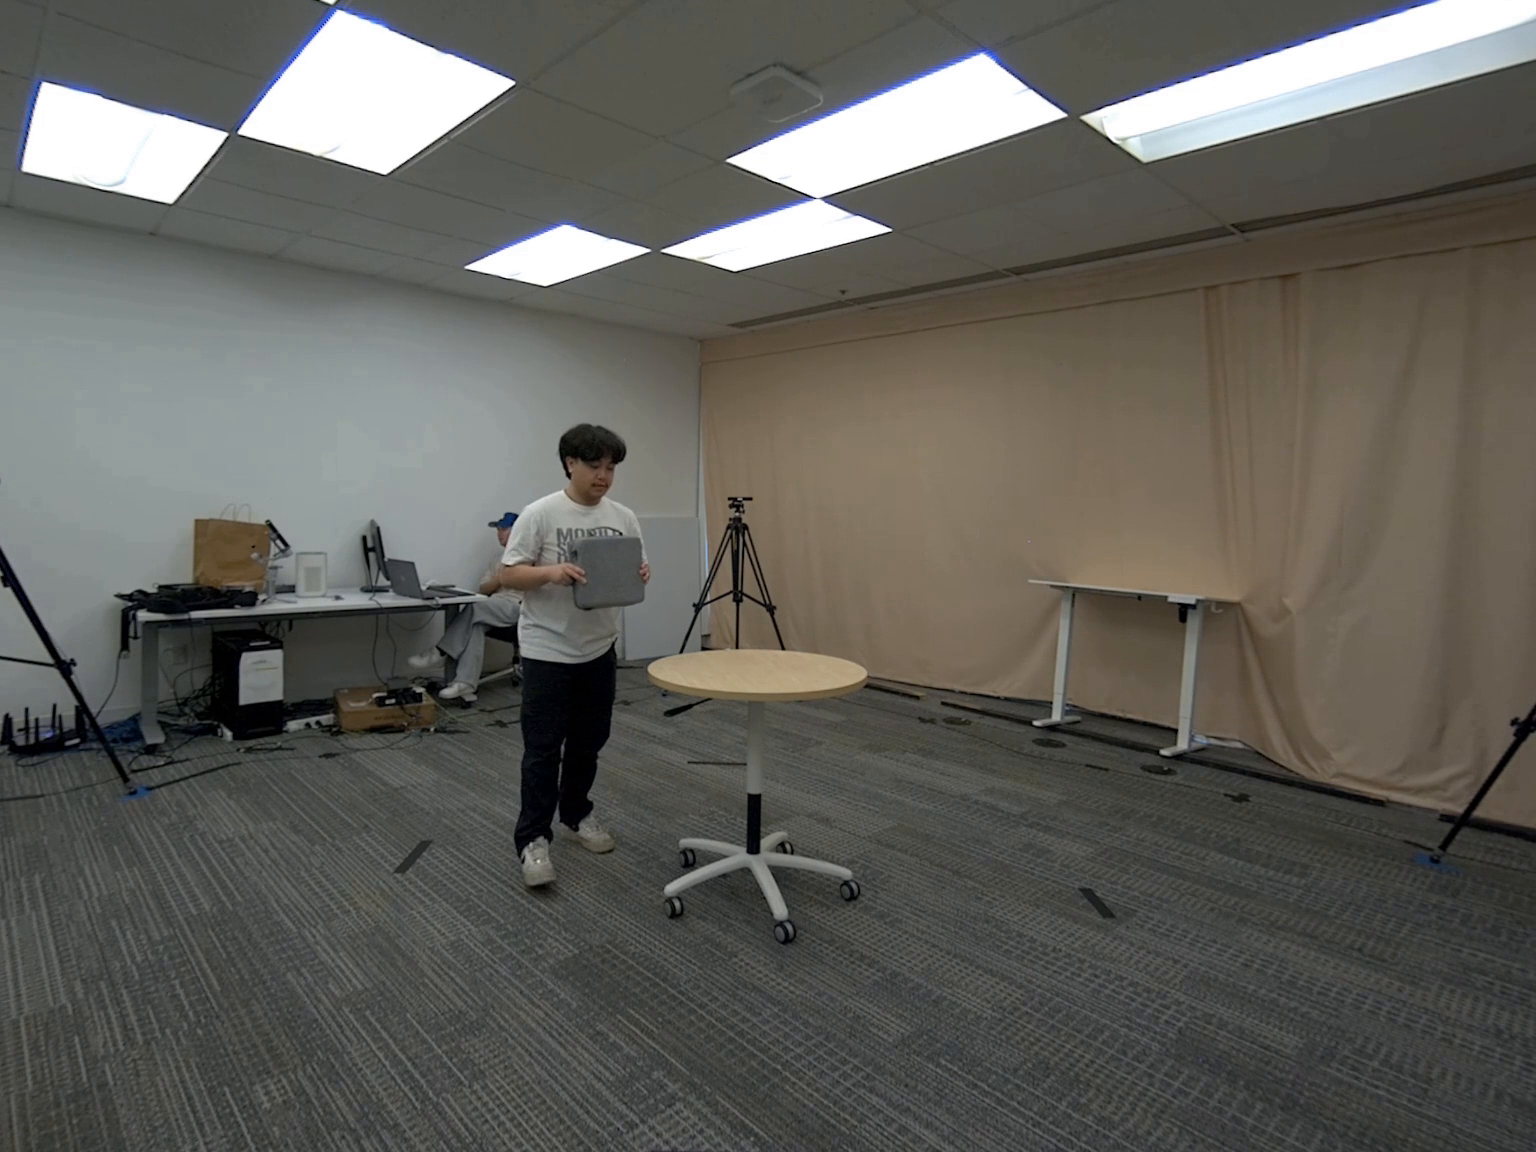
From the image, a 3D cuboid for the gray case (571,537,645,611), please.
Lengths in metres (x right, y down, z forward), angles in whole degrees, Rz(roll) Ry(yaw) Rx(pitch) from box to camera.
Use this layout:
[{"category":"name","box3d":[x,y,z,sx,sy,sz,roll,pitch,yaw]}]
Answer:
[{"category":"gray case","box3d":[-0.593,-0.022,3.010,0.251,0.260,0.106,-6,2,-37]}]
